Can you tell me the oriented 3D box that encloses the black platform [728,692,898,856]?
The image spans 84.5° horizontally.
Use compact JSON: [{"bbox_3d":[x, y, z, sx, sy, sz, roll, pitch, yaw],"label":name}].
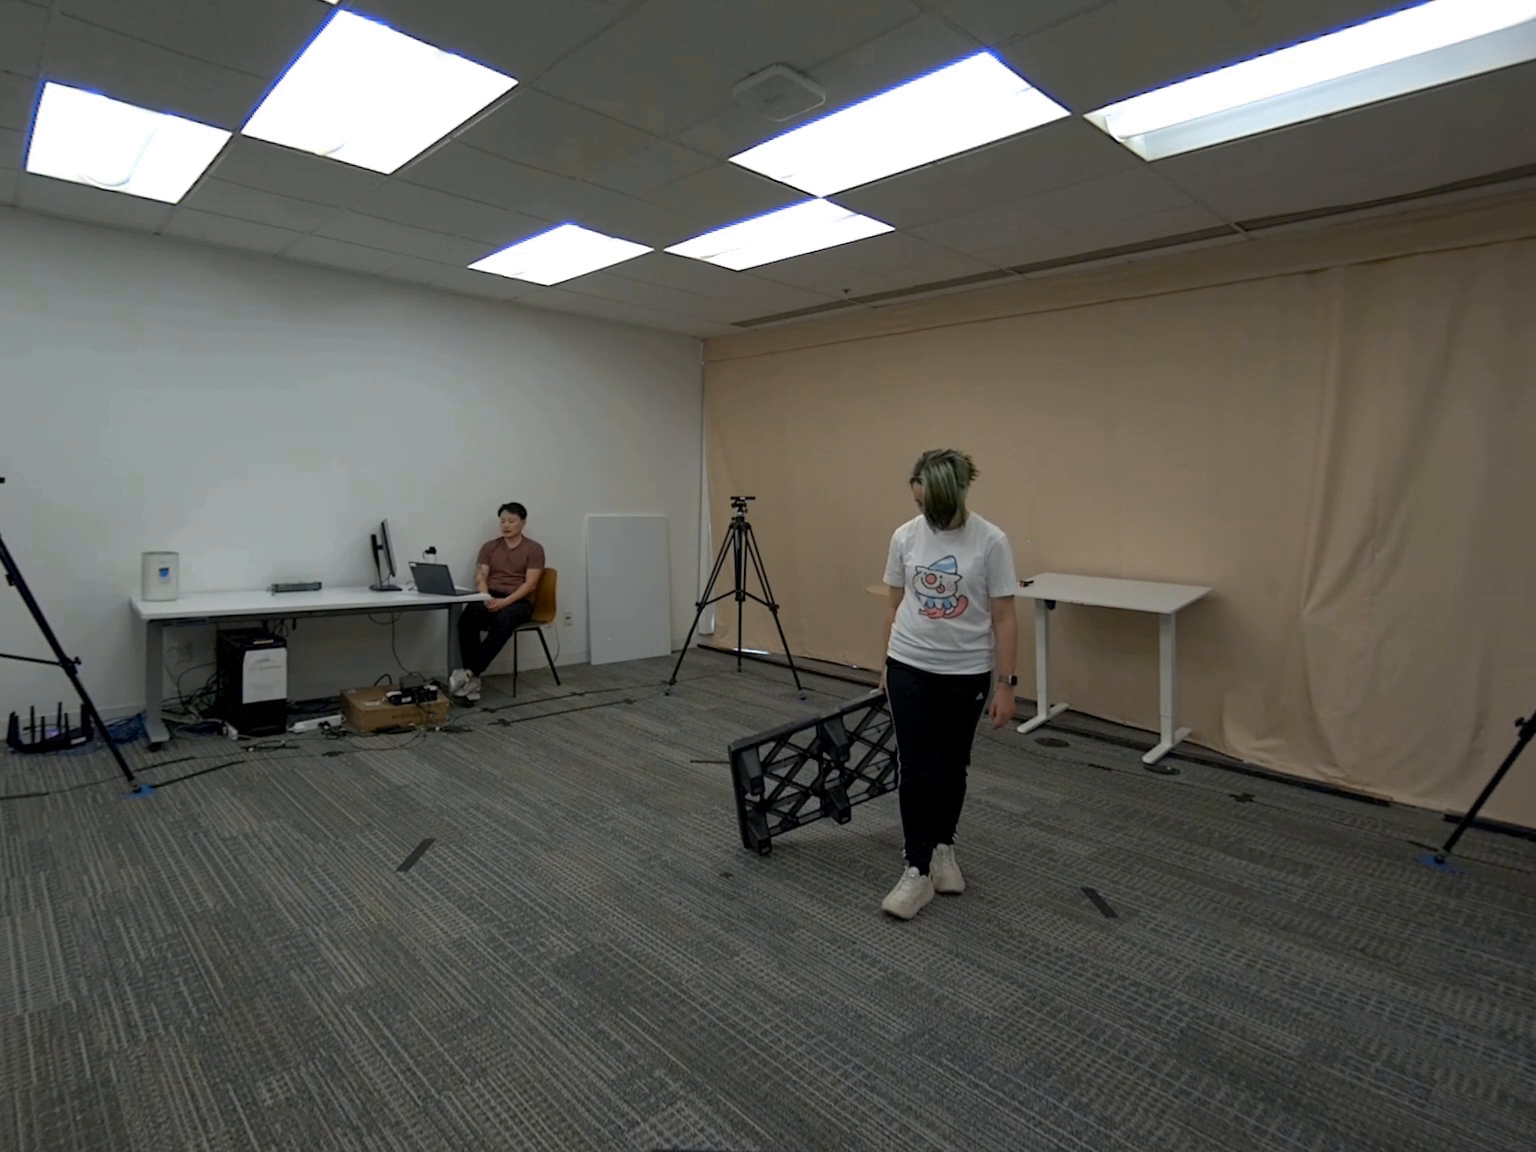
[{"bbox_3d":[0.256,0.758,3.249,0.800,0.591,0.148,-17,37,-13],"label":"black platform"}]
